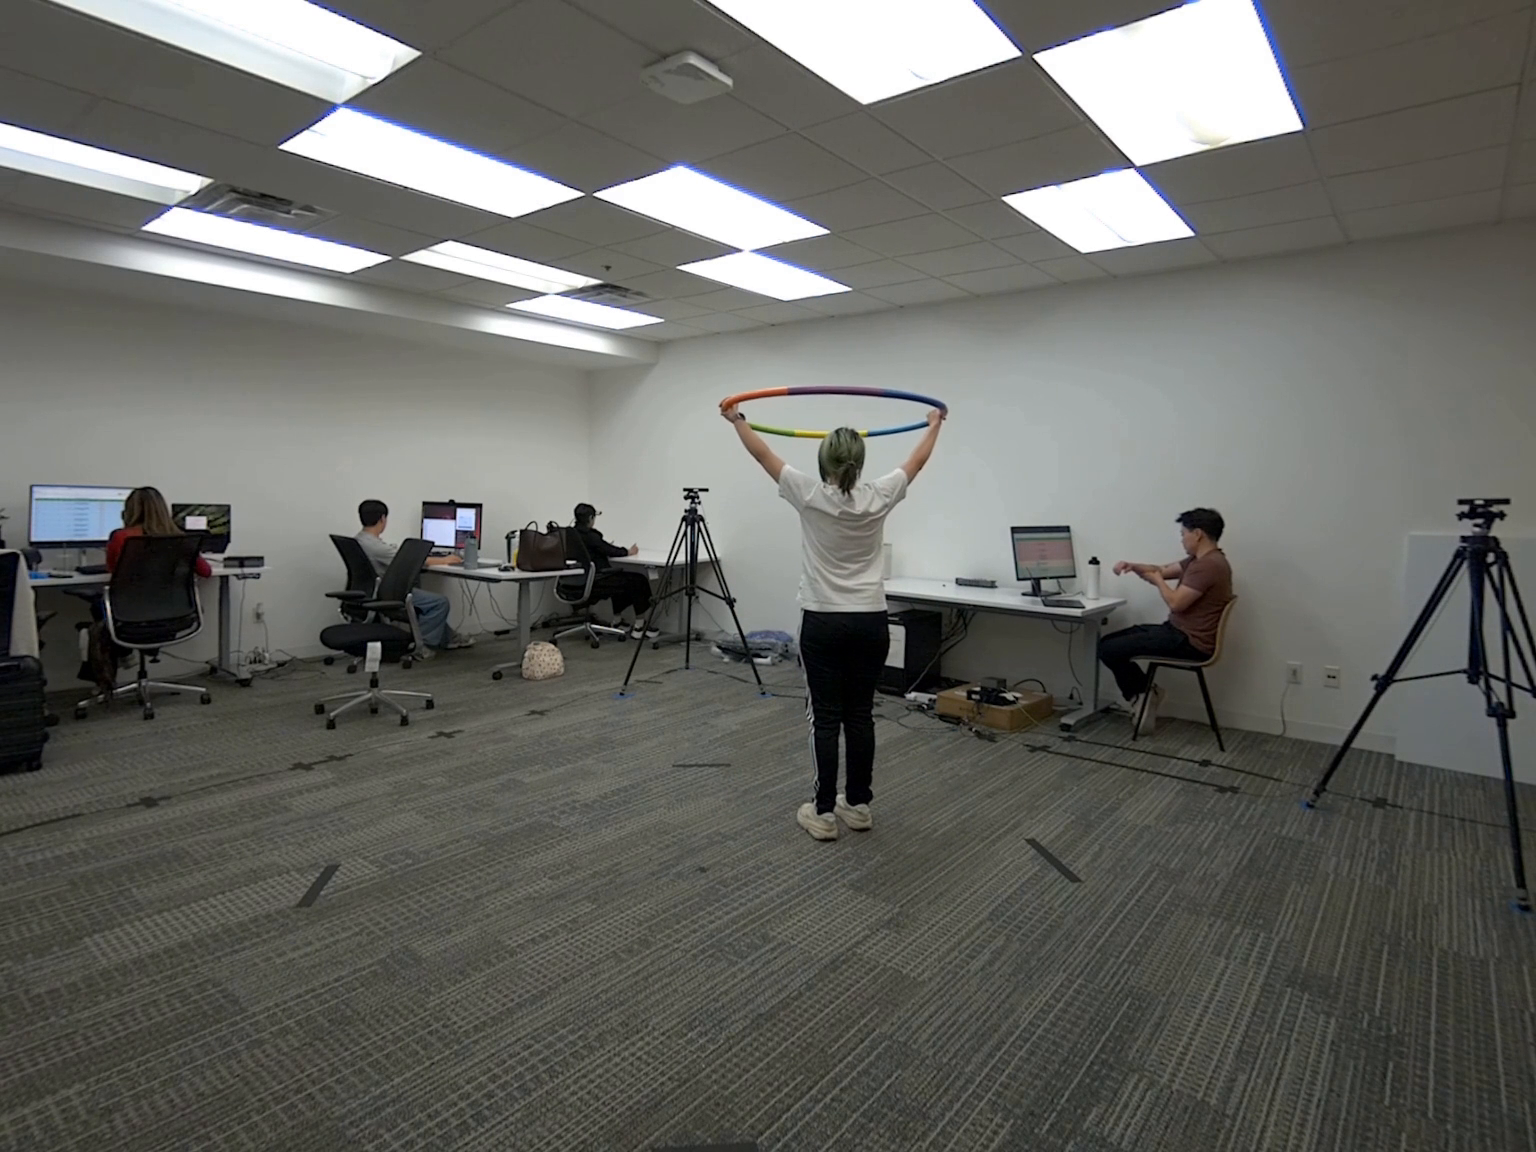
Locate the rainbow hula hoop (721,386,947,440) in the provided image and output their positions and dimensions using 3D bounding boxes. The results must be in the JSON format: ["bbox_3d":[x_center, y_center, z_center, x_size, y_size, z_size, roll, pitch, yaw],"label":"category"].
[{"bbox_3d":[0.274,-0.722,3.758,0.985,0.052,0.983,2,-2,-2],"label":"rainbow hula hoop"}]
